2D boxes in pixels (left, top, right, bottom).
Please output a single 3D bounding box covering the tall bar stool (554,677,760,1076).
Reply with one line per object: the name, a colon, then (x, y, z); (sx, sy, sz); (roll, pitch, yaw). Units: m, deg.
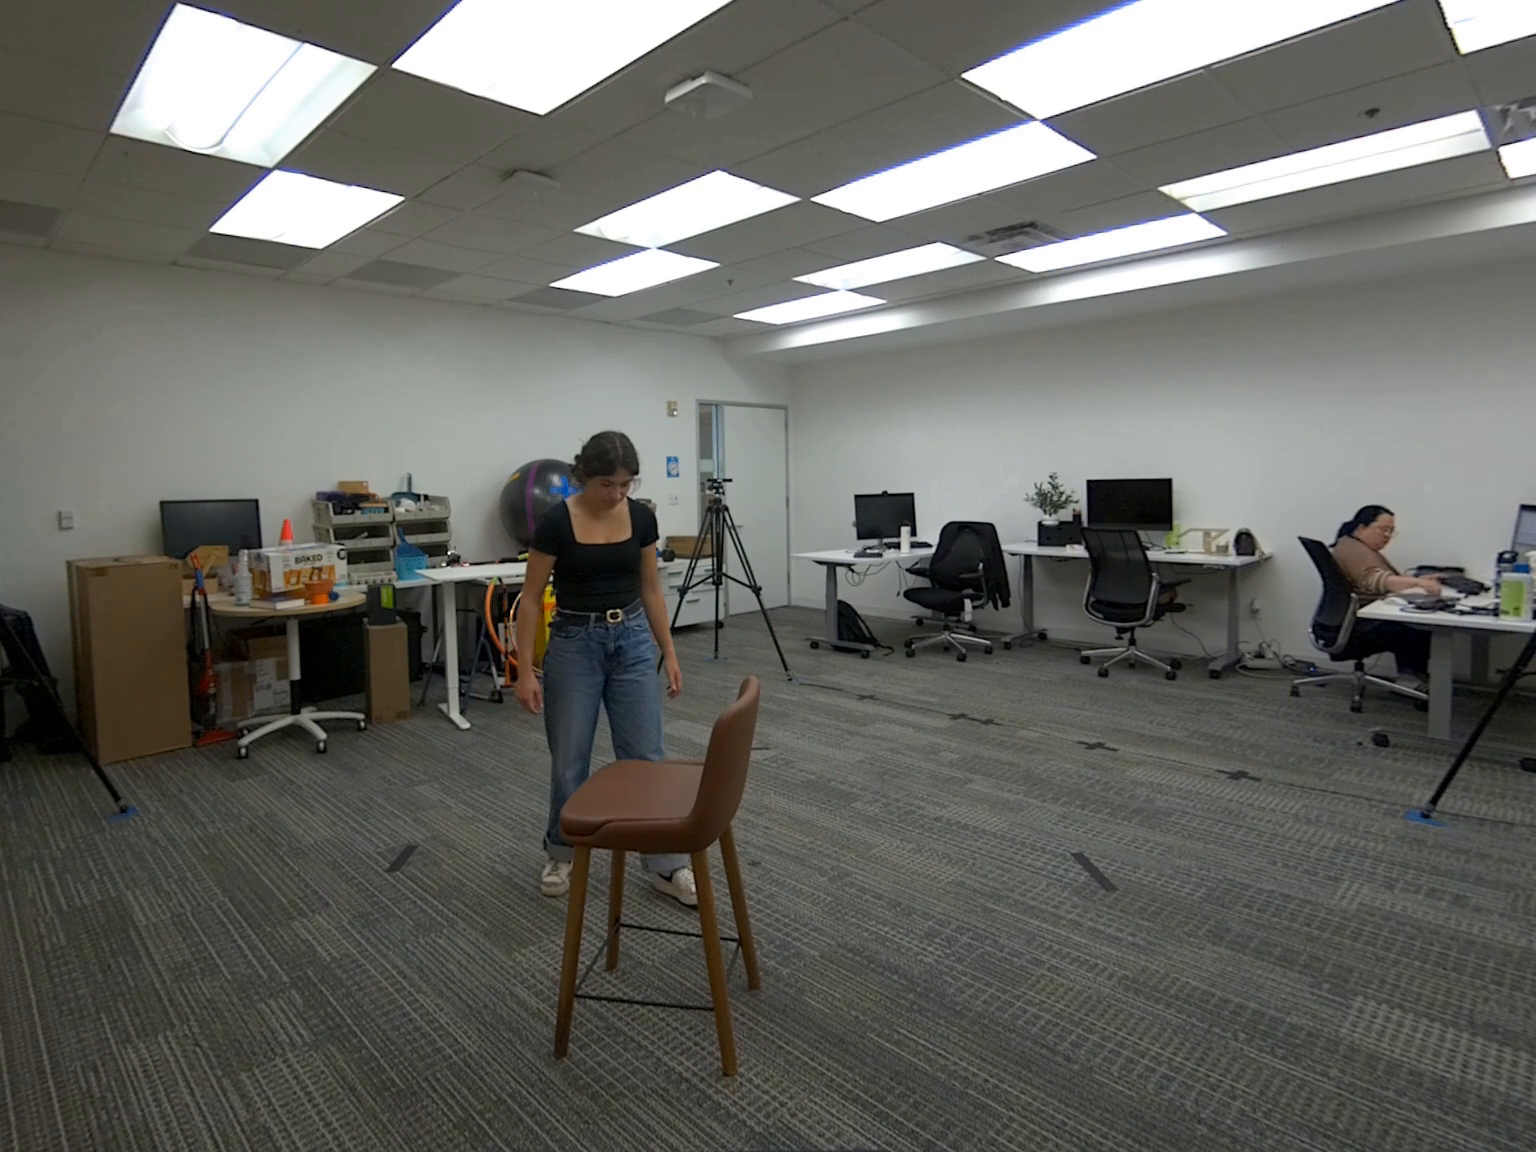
tall bar stool: (-0.266, 0.719, 2.198); (0.473, 0.886, 0.453); (2, 5, 11)
